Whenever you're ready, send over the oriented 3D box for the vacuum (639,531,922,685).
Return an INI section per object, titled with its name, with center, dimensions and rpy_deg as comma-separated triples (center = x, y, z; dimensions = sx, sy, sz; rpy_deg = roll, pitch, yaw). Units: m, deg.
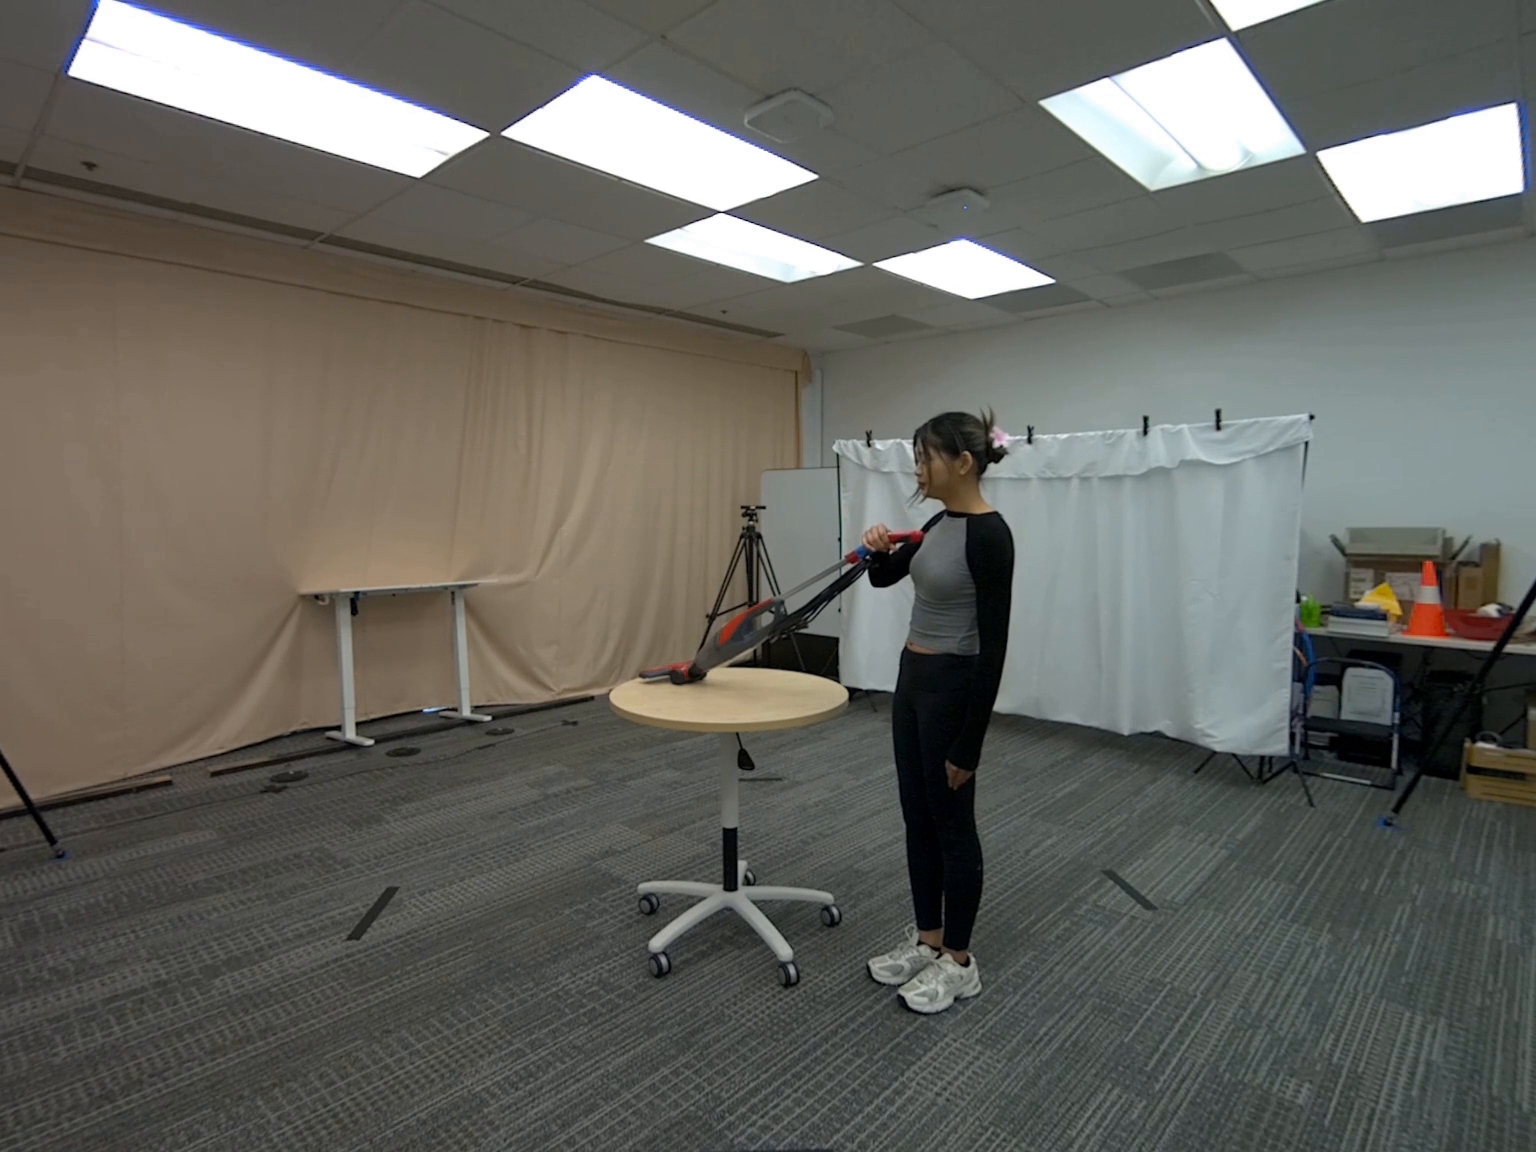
[vacuum]
center = 0.027, 0.126, 2.581
dimensions = 1.066, 0.146, 0.245
rpy_deg = -32, -13, 37
